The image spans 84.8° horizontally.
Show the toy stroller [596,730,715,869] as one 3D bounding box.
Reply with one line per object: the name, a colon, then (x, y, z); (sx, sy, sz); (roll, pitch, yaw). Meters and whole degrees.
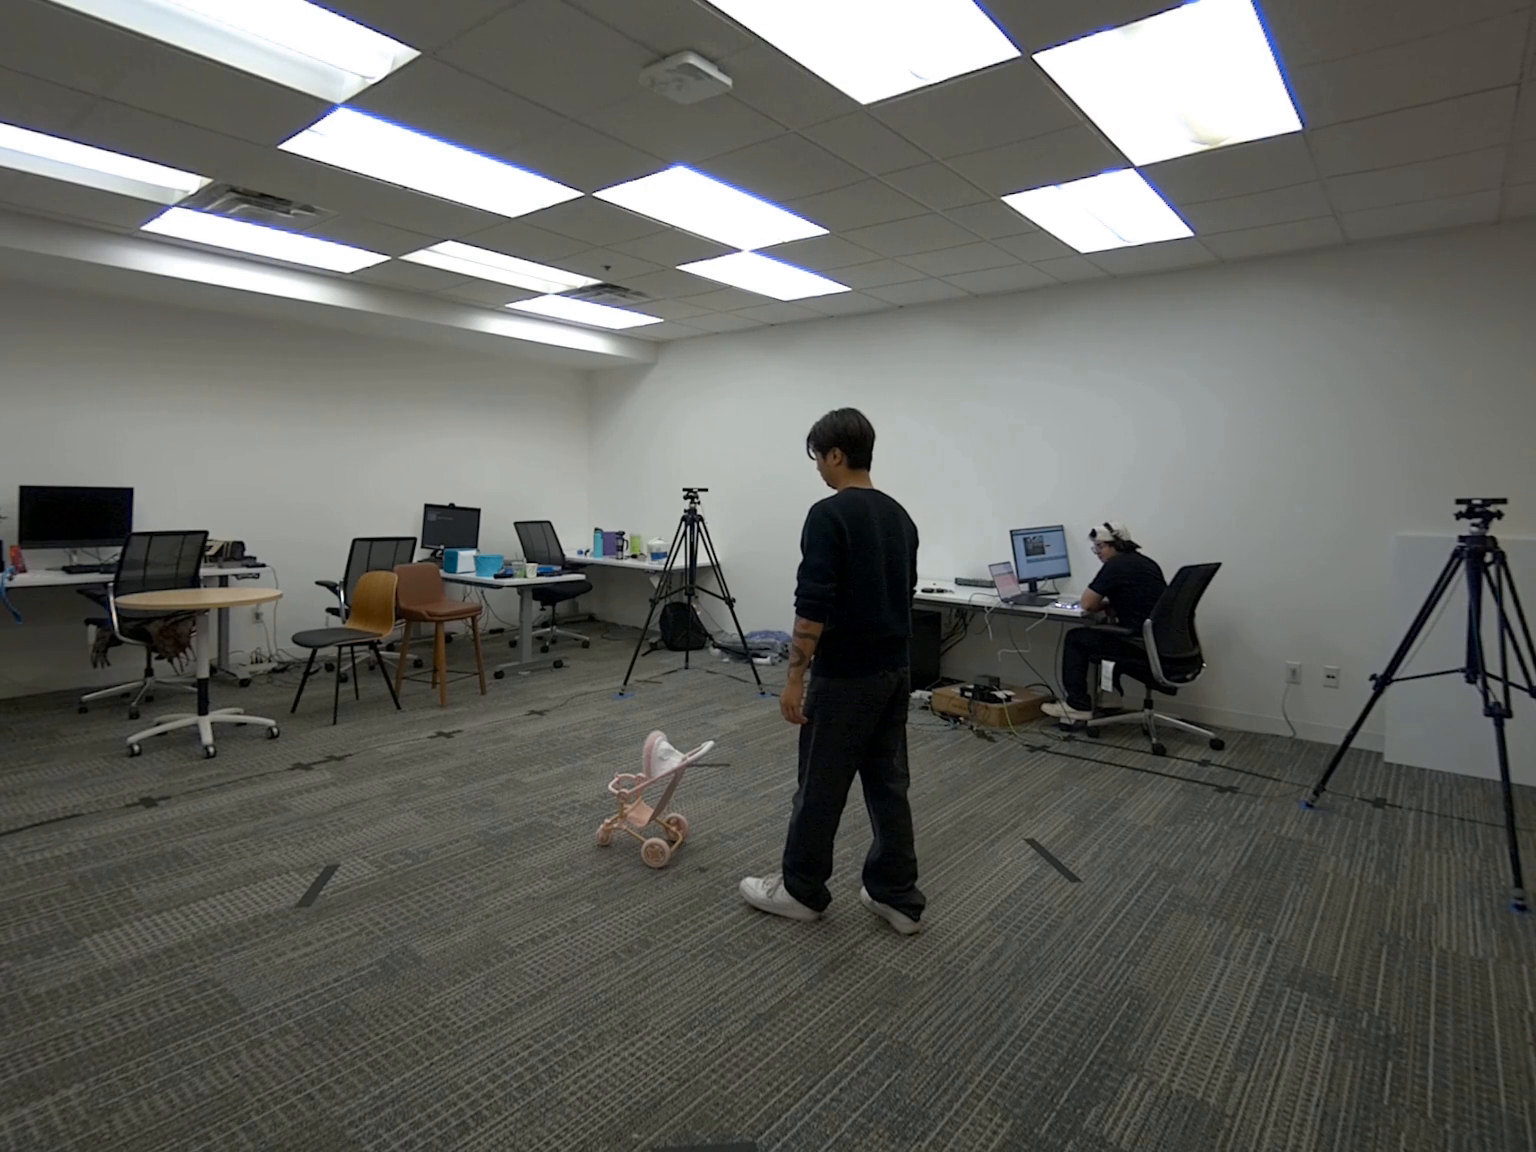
toy stroller: (-0.457, 0.829, 3.246); (0.349, 0.532, 0.277); (19, 8, 16)
